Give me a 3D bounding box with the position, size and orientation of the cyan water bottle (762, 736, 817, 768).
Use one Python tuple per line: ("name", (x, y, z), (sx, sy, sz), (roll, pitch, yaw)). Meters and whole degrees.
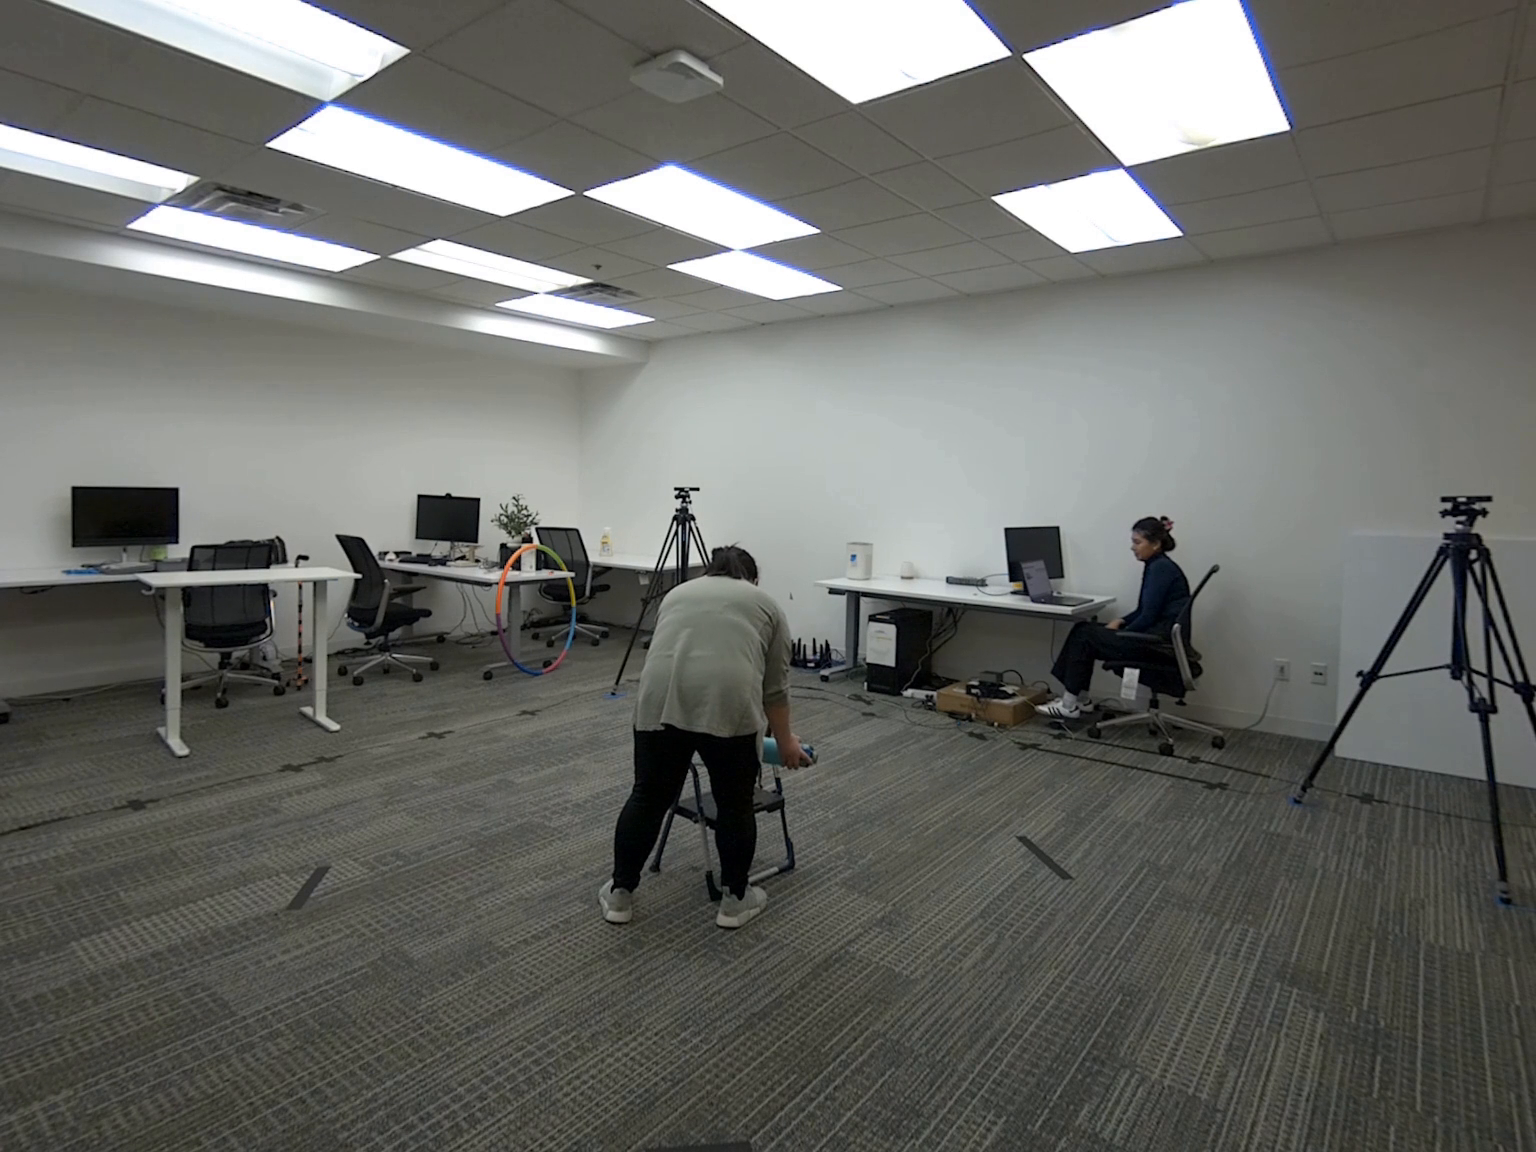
("cyan water bottle", (0.025, 0.612, 2.988), (0.288, 0.092, 0.091), (5, 5, 13))
